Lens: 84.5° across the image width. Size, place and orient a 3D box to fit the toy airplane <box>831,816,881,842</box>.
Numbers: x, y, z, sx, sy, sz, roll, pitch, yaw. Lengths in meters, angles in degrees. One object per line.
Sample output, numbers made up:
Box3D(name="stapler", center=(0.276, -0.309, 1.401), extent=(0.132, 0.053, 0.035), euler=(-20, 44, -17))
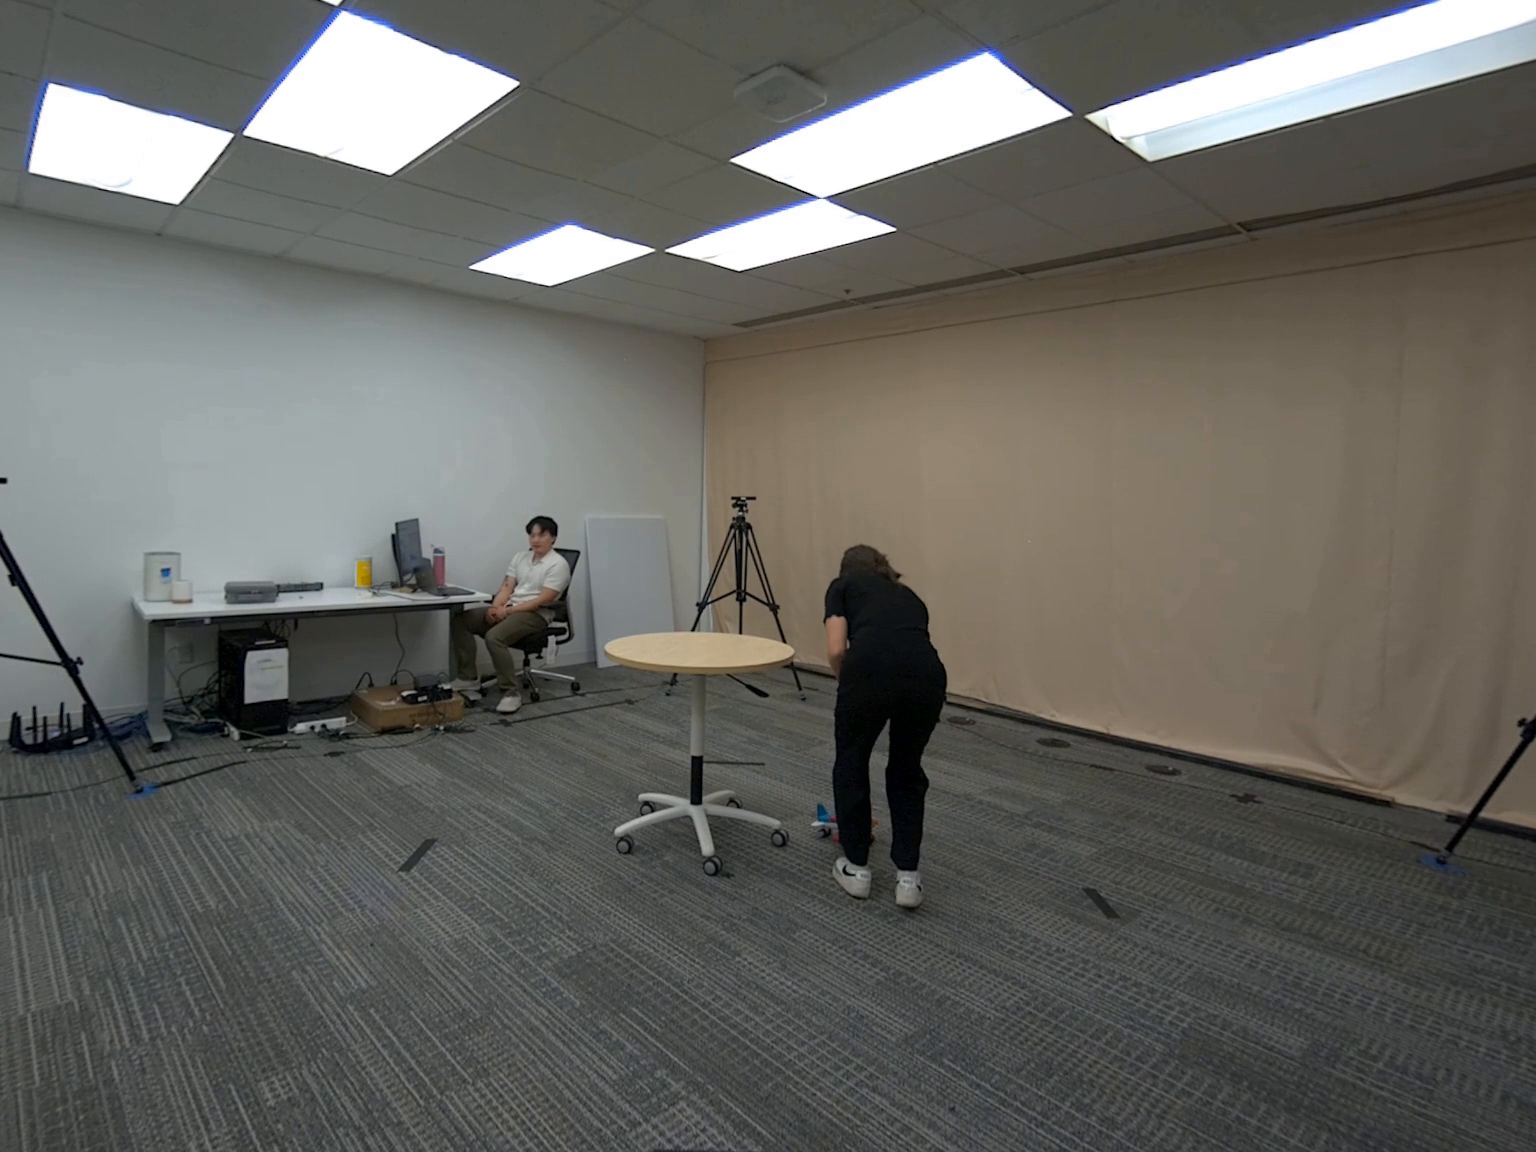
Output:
Box3D(name="toy airplane", center=(0.290, 1.023, 3.418), extent=(0.262, 0.156, 0.249), euler=(4, 3, 12))
